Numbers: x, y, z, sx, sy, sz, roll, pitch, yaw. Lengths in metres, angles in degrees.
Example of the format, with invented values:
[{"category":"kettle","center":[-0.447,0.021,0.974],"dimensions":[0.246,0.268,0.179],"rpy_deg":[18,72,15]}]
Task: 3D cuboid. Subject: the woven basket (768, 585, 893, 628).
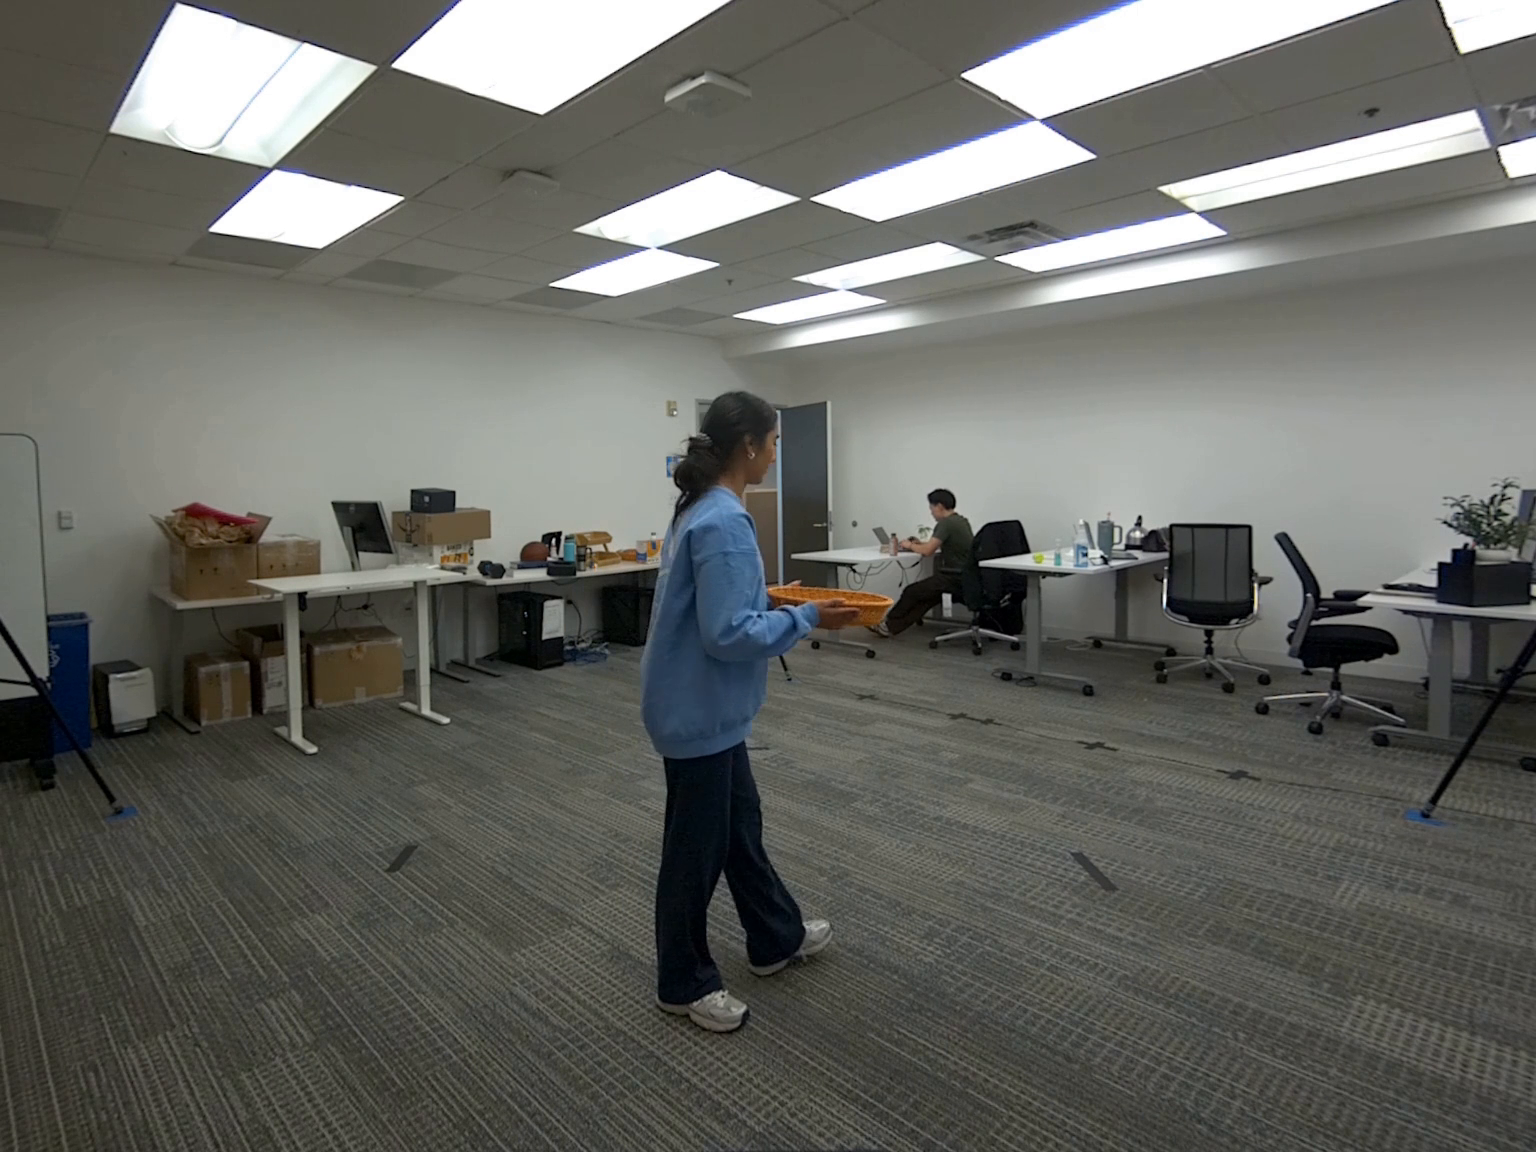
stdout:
[{"category":"woven basket","center":[0.161,0.090,2.264],"dimensions":[0.345,0.073,0.257],"rpy_deg":[1,7,-15]}]
